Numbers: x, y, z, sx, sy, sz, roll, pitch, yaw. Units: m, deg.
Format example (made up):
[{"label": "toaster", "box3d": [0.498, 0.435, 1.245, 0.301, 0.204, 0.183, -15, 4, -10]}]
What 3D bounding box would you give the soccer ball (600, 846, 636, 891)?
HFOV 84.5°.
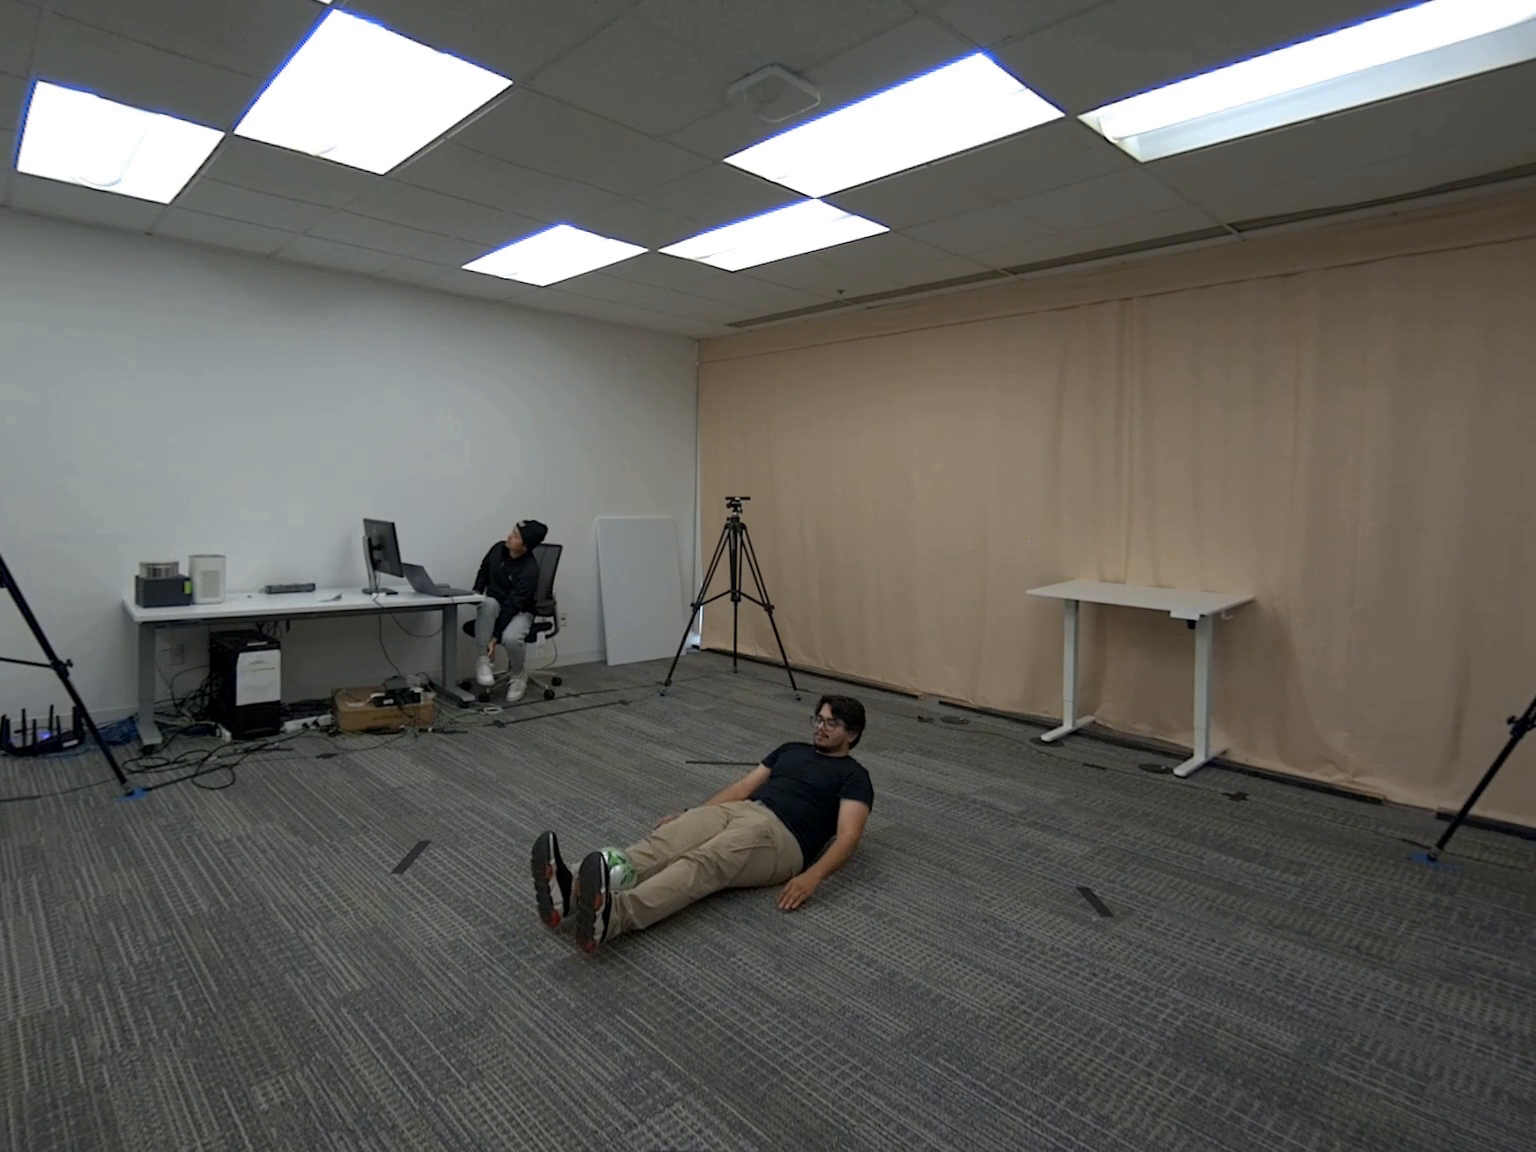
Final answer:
[{"label": "soccer ball", "box3d": [-0.529, 0.976, 2.698, 0.187, 0.187, 0.188, 1, 5, -1]}]
